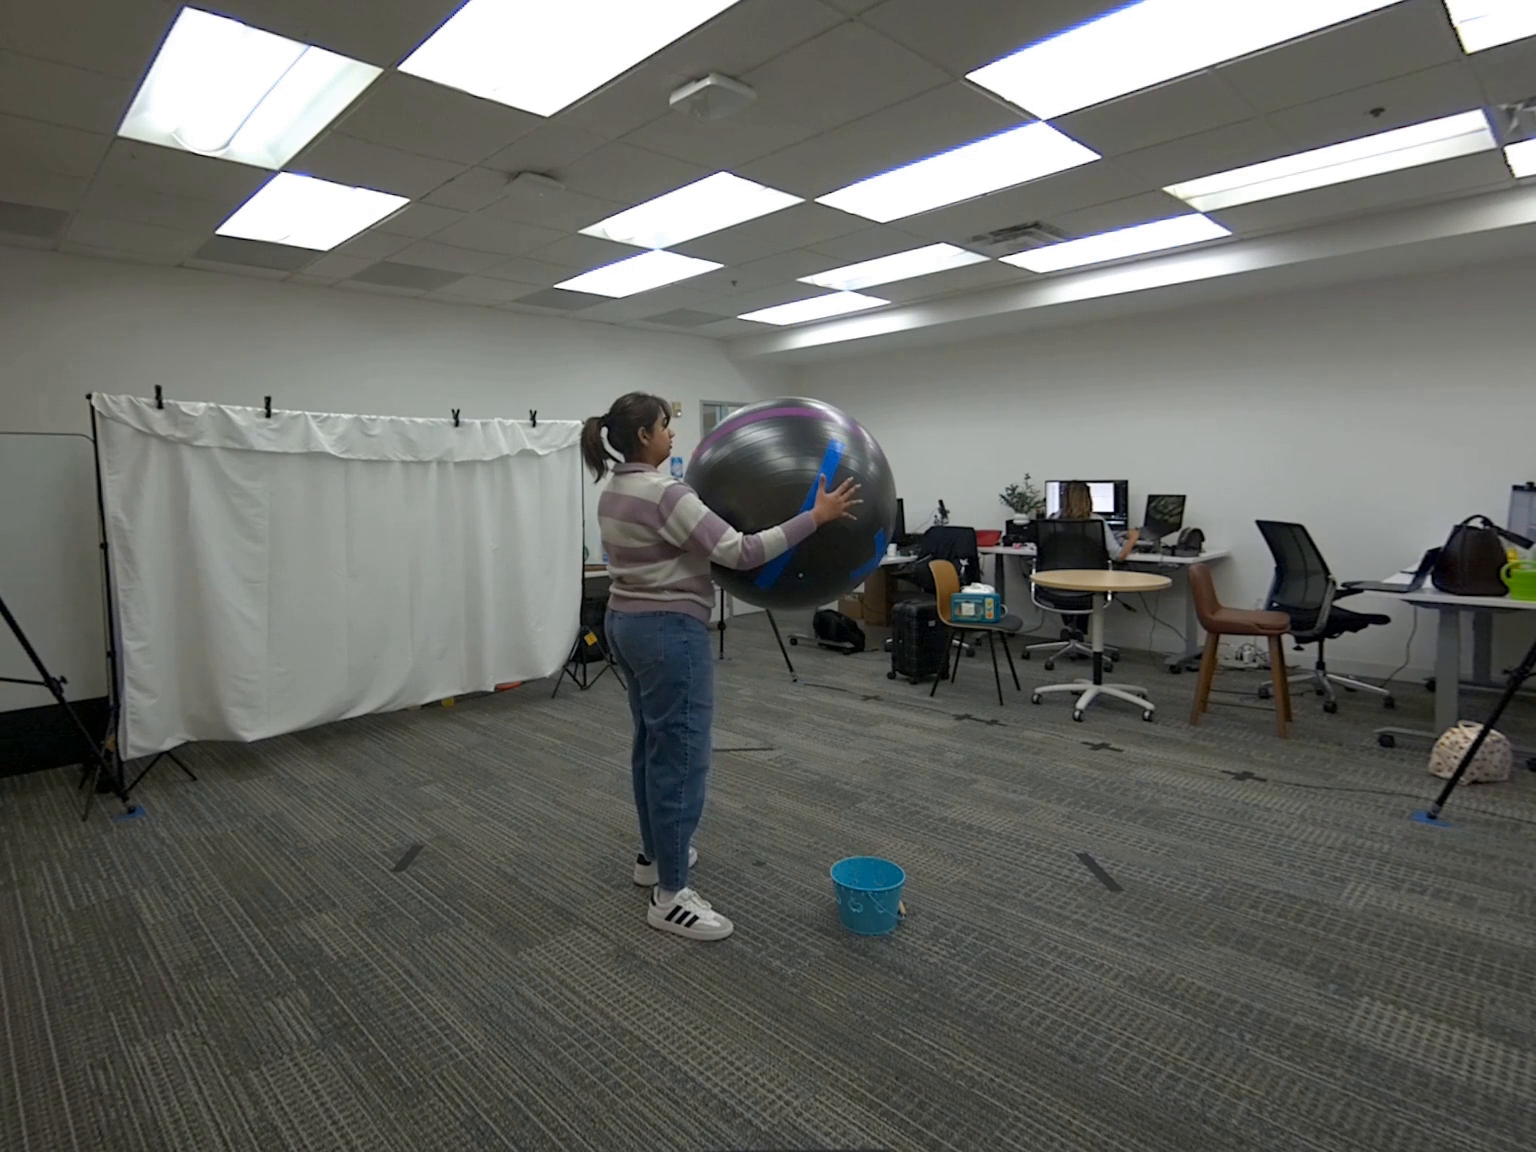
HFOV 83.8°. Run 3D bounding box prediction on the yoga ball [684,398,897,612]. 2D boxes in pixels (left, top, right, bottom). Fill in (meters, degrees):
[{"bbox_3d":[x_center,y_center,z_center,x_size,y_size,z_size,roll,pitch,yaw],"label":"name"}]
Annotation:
[{"bbox_3d":[0.073,-0.250,3.034,0.757,0.755,0.762,-1,5,-2],"label":"yoga ball"}]
